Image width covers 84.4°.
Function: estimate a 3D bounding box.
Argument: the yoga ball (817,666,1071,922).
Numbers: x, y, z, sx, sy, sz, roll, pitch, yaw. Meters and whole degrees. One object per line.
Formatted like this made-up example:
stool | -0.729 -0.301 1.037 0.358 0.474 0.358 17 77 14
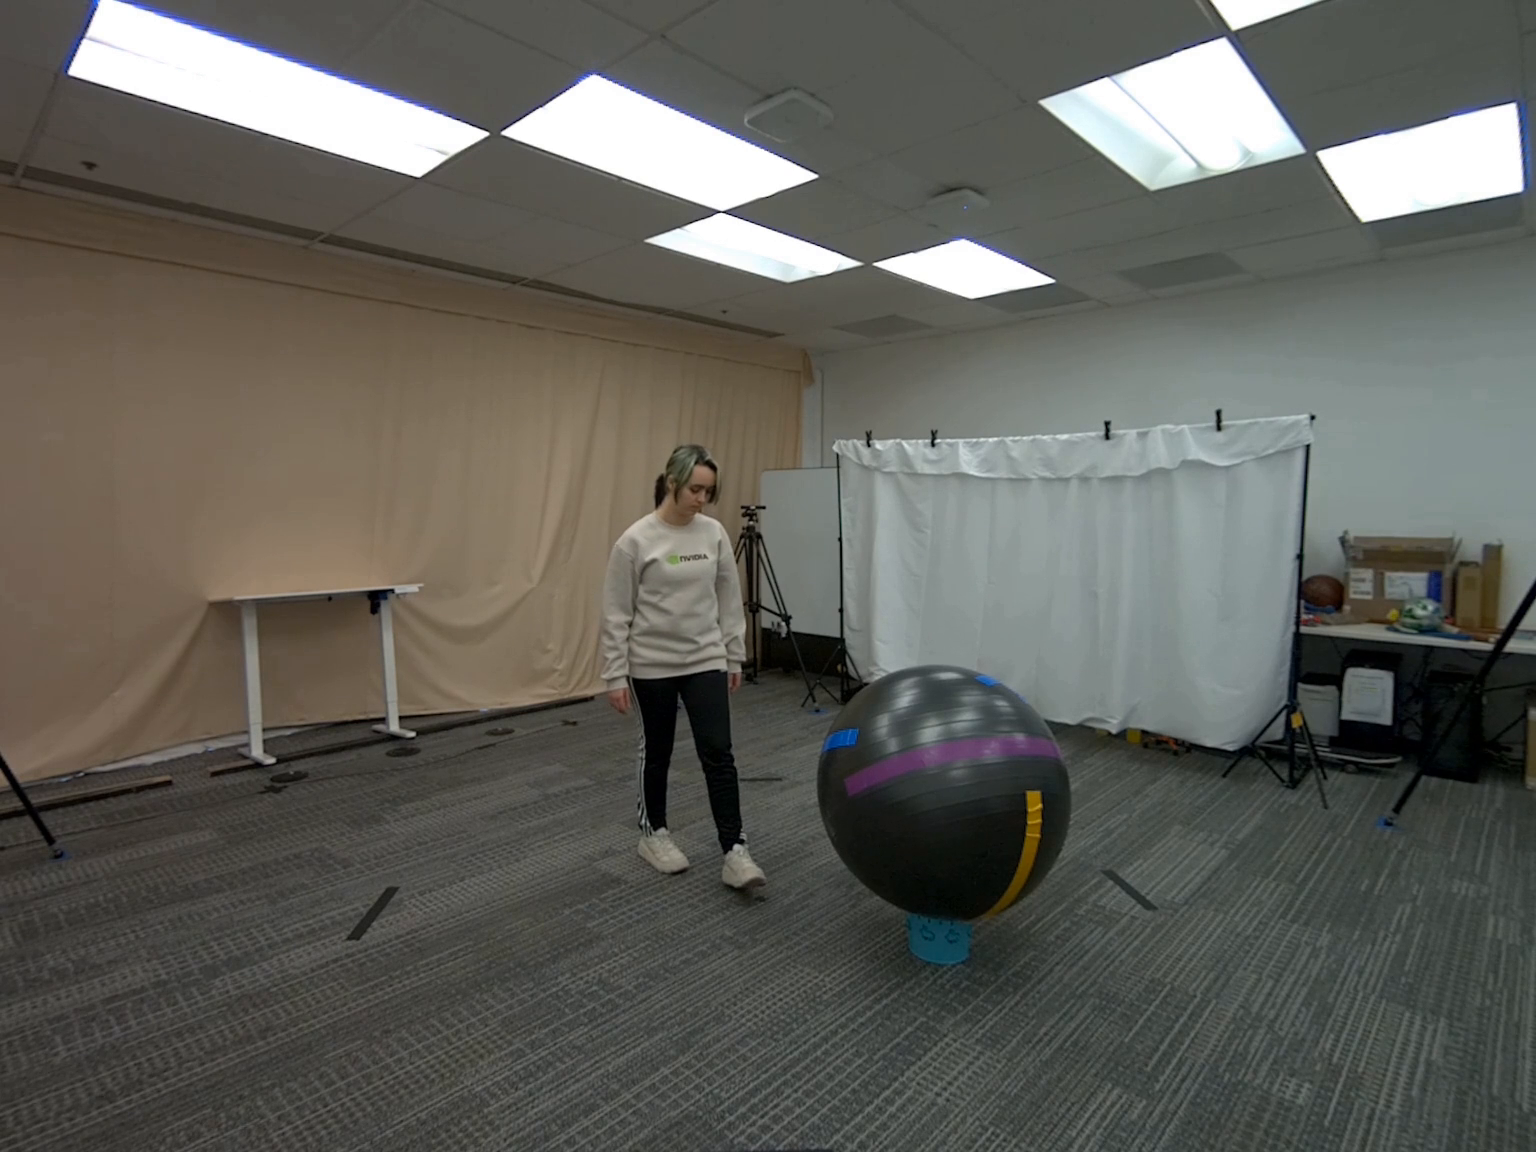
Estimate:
yoga ball | 0.536 0.662 2.619 0.757 0.756 0.761 0 4 -2
